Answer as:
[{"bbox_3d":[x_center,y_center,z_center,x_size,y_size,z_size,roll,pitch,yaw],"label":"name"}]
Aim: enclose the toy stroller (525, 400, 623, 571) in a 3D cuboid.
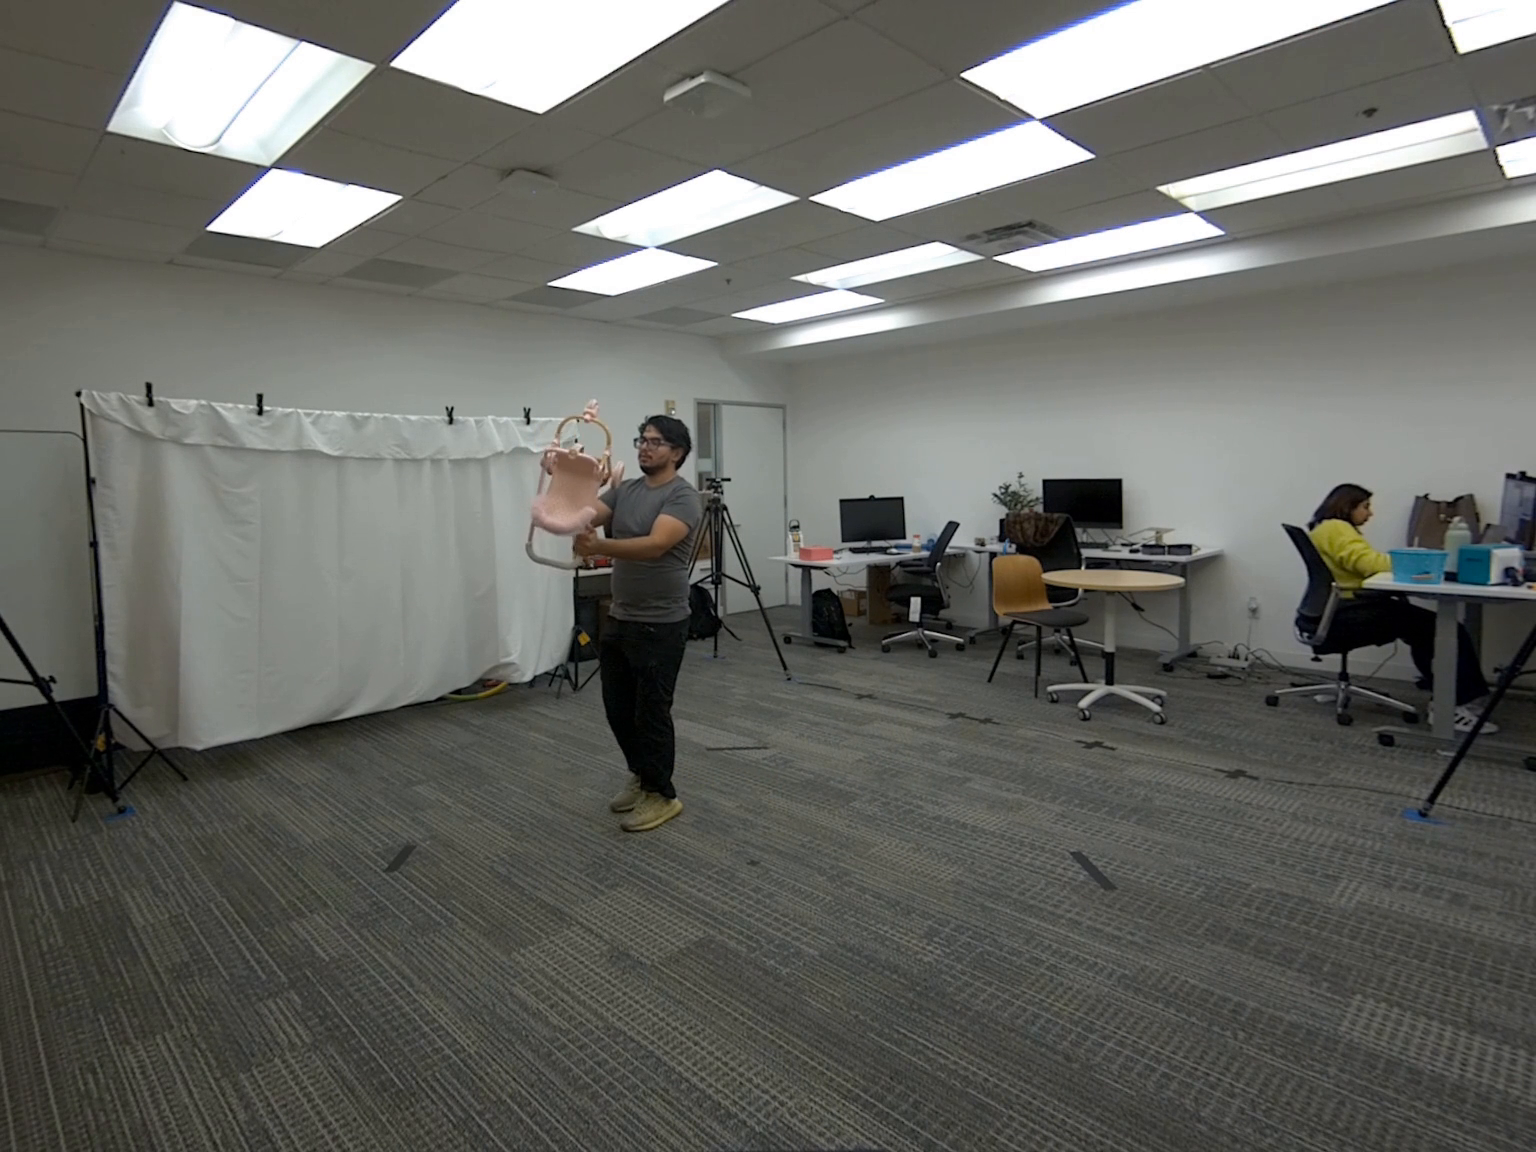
[{"bbox_3d":[-0.681,-0.334,3.012,0.280,0.544,0.336,16,-33,-4],"label":"toy stroller"}]
